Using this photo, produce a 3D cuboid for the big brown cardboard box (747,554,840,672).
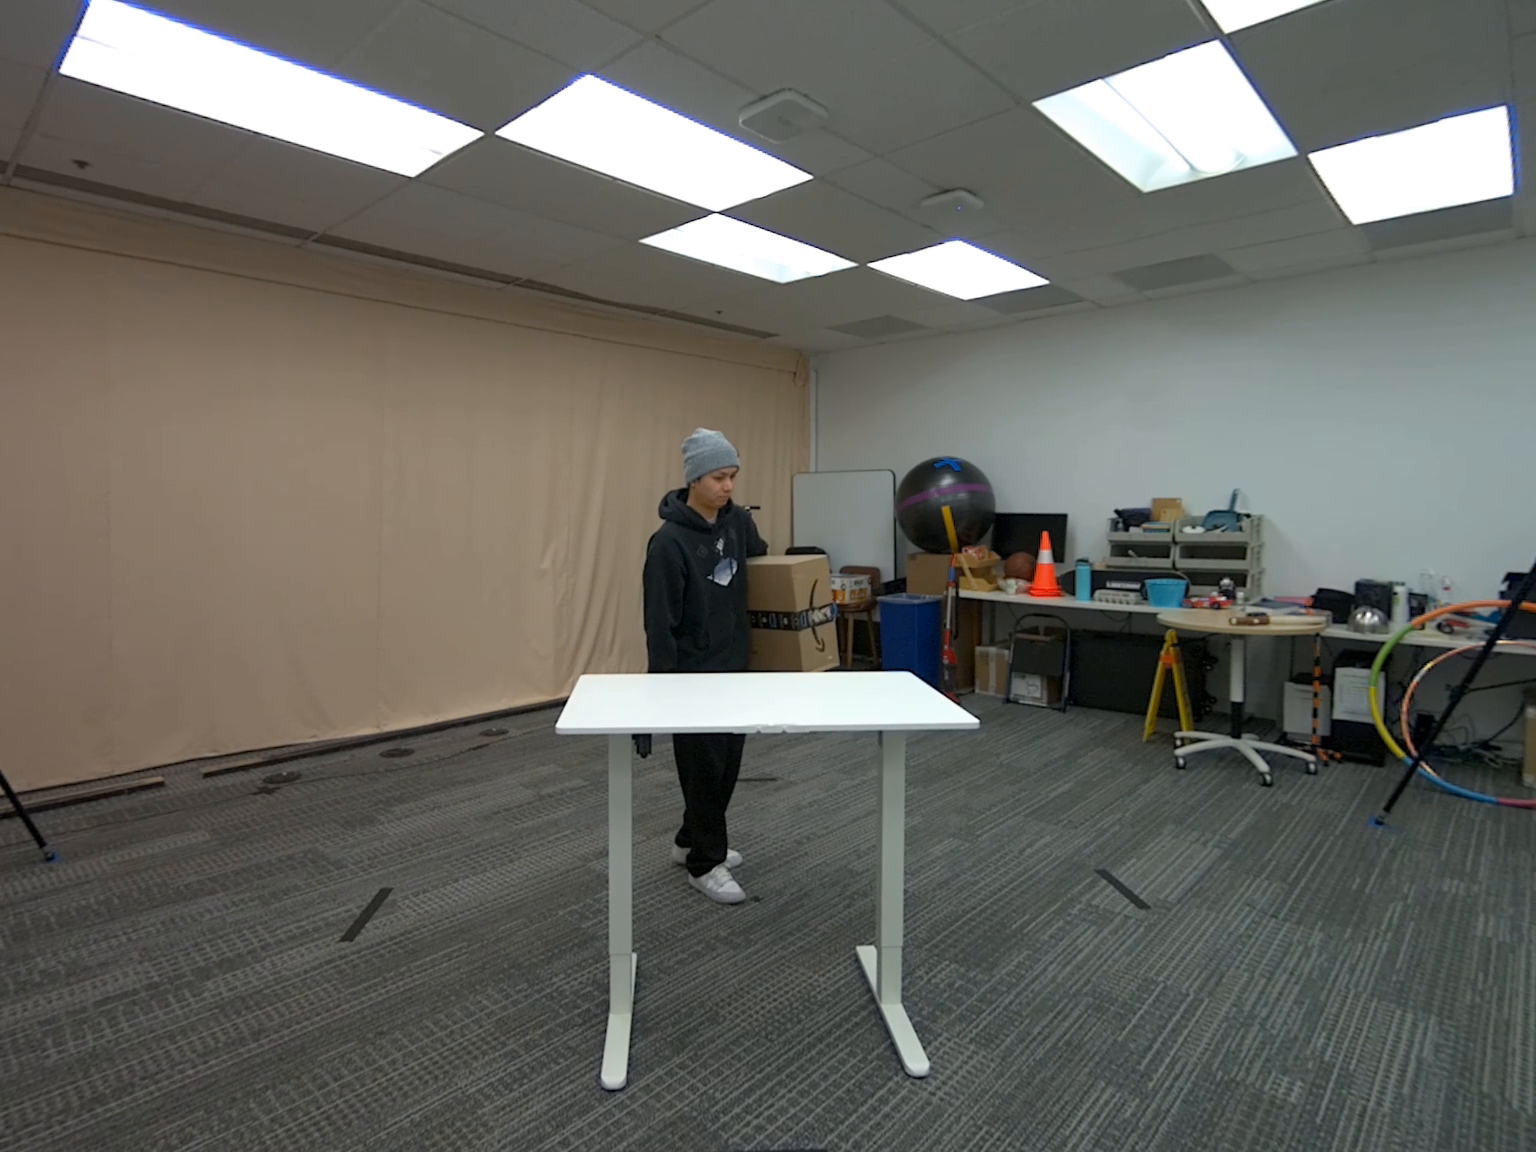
[{"bbox_3d":[-0.034,0.143,3.228,0.608,0.416,0.226,0,7,42],"label":"big brown cardboard box"}]
